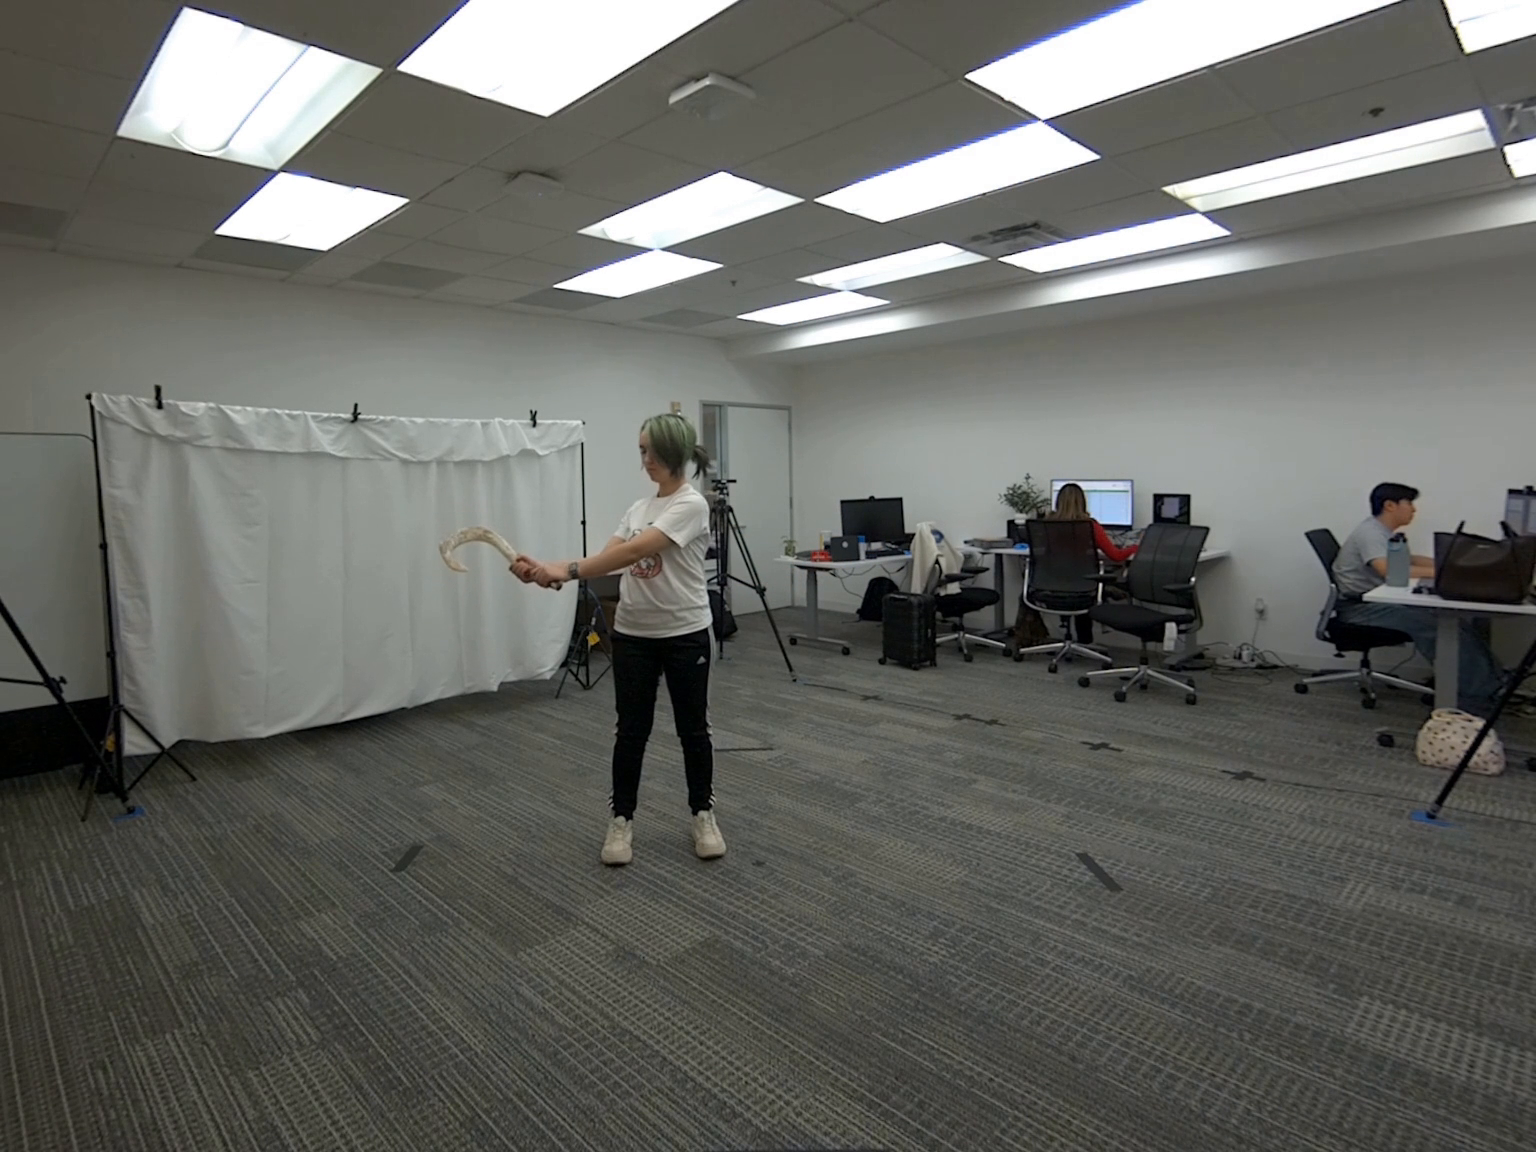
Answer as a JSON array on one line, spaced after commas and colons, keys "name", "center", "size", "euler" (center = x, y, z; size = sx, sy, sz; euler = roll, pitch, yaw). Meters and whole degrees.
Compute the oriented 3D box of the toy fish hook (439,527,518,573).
[{"name": "toy fish hook", "center": [-0.927, -0.034, 2.981], "size": [0.522, 0.047, 0.224], "euler": [26, 51, 25]}]
